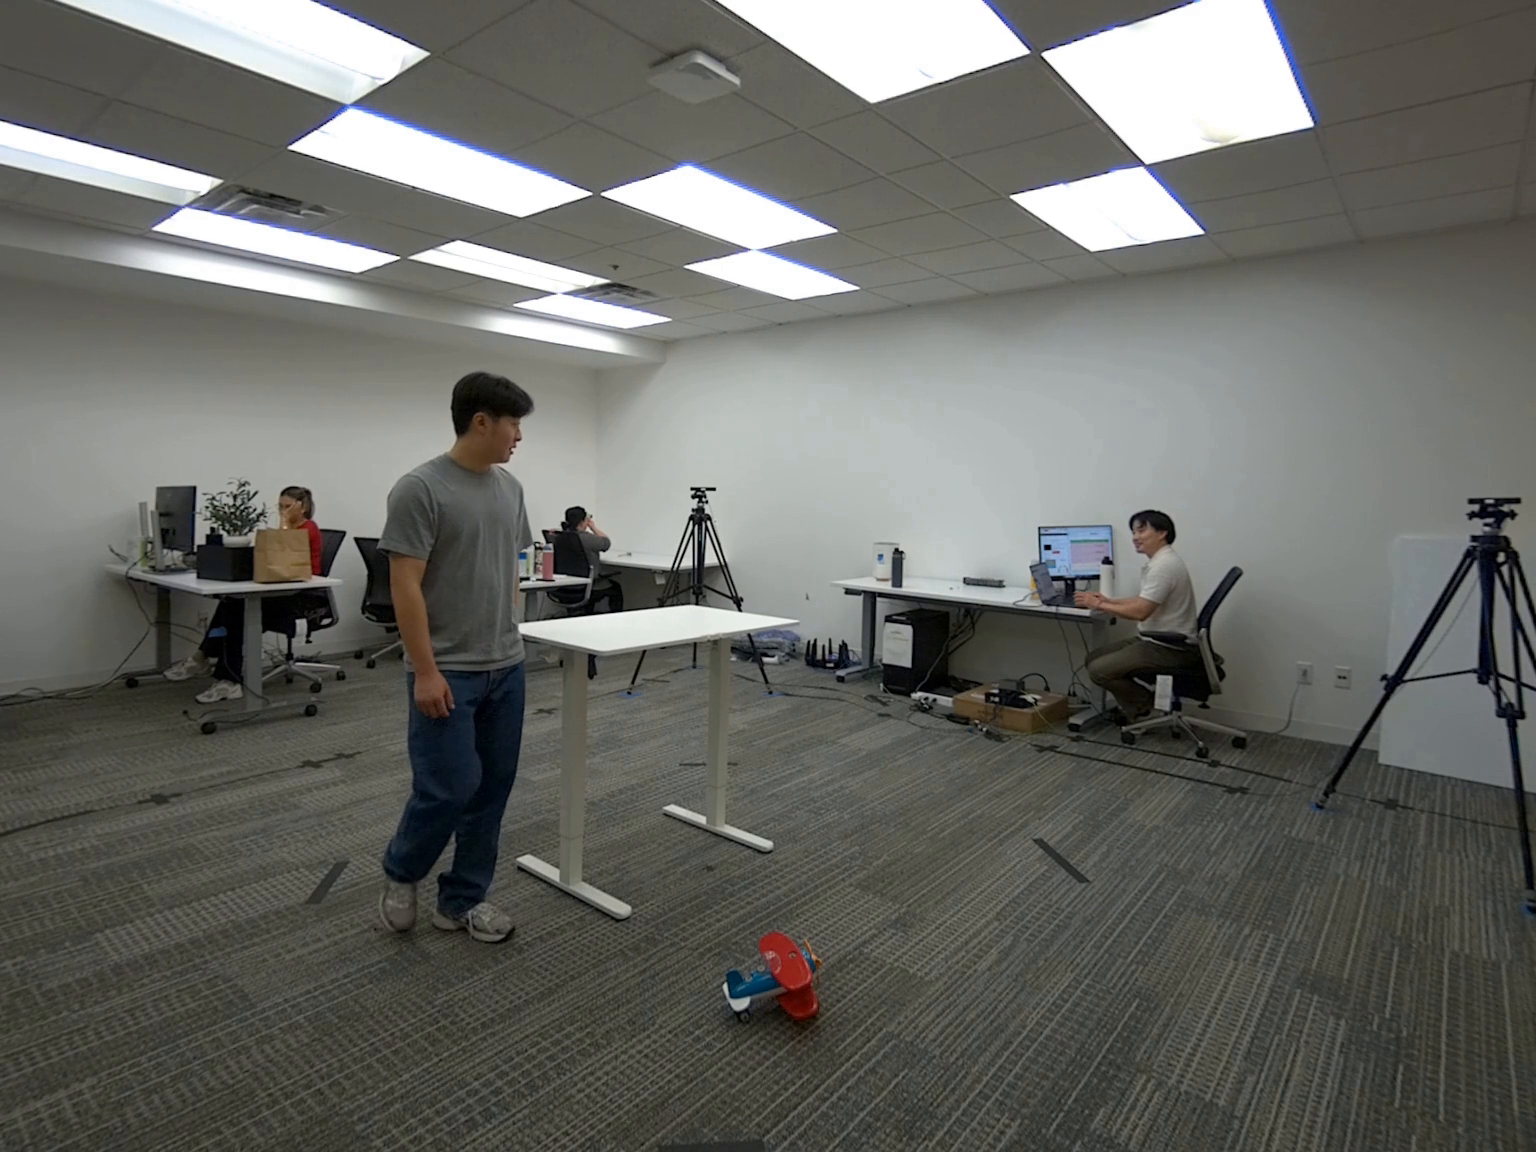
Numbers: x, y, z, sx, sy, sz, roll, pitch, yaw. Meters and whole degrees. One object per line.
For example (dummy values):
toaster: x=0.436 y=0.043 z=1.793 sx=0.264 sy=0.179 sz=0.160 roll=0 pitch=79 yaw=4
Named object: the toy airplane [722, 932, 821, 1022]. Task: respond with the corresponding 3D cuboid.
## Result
toy airplane: x=0.020 y=1.088 z=2.235 sx=0.260 sy=0.156 sz=0.251 roll=5 pitch=6 yaw=42
